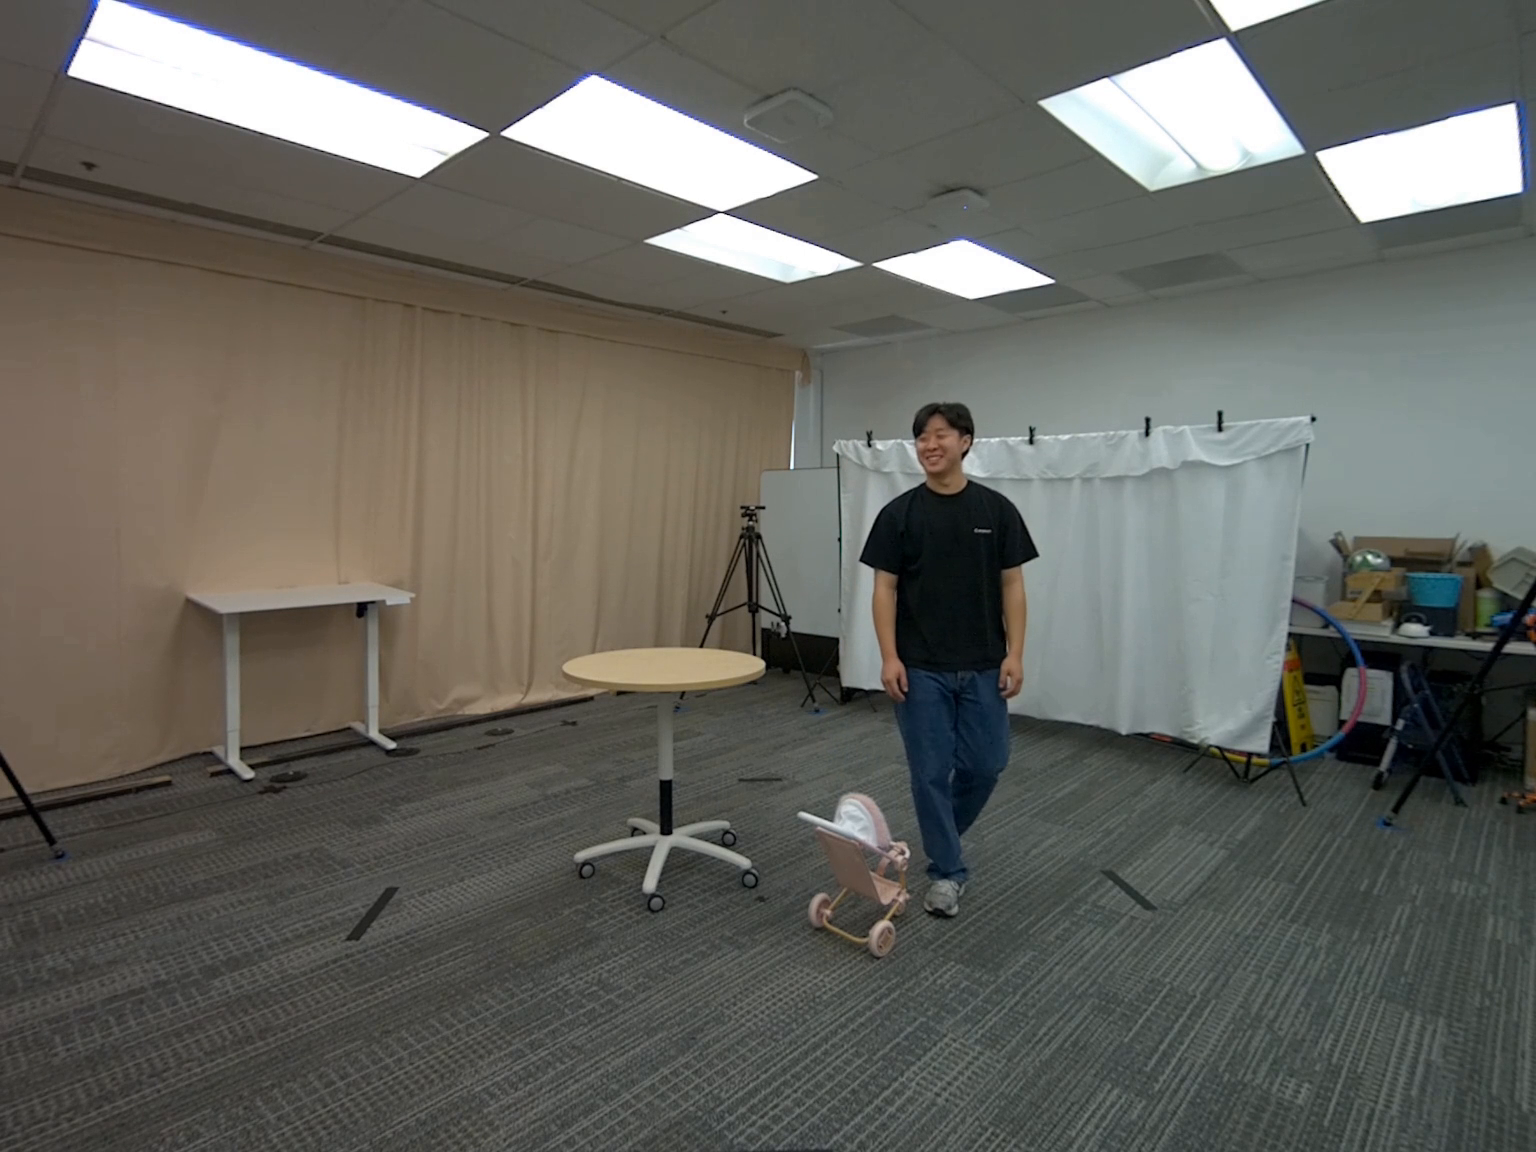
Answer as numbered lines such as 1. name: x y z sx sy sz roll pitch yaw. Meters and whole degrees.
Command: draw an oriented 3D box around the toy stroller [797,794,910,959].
1. toy stroller: 0.314 0.940 2.720 0.334 0.529 0.291 -22 16 -37
